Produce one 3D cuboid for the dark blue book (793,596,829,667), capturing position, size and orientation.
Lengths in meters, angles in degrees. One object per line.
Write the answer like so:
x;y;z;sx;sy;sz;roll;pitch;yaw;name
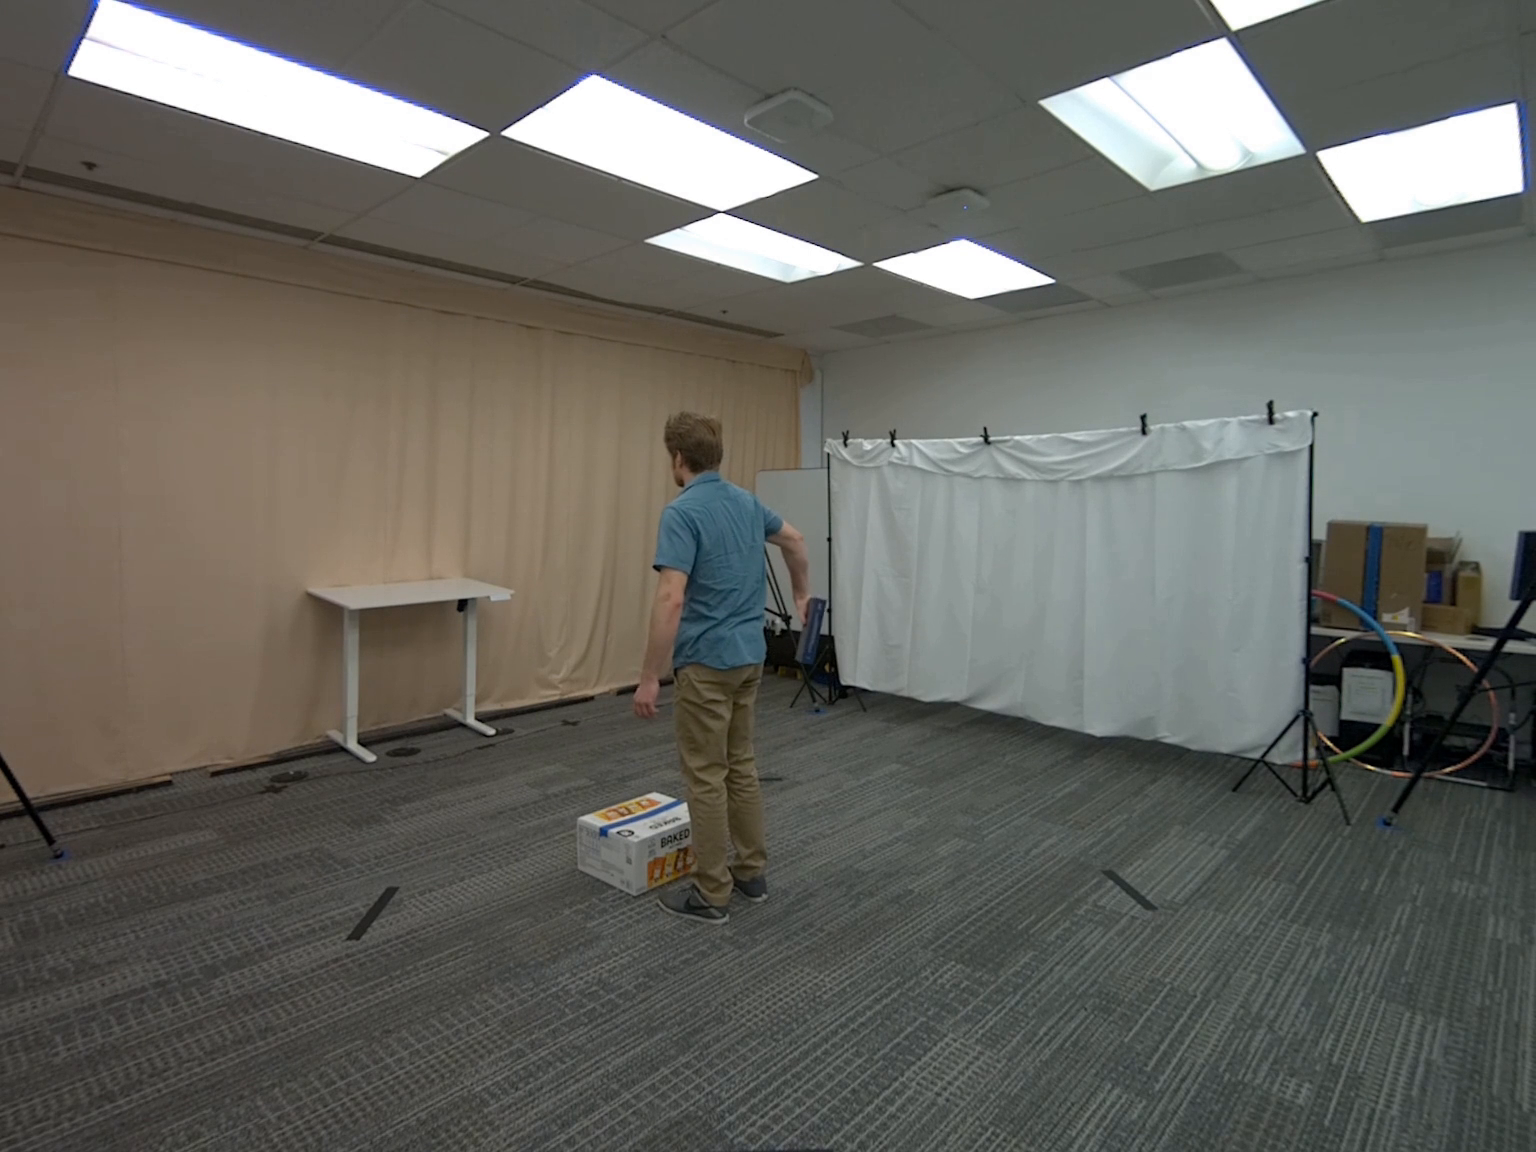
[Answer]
0.157;0.202;3.142;0.045;0.245;0.164;13;-3;-8;dark blue book
